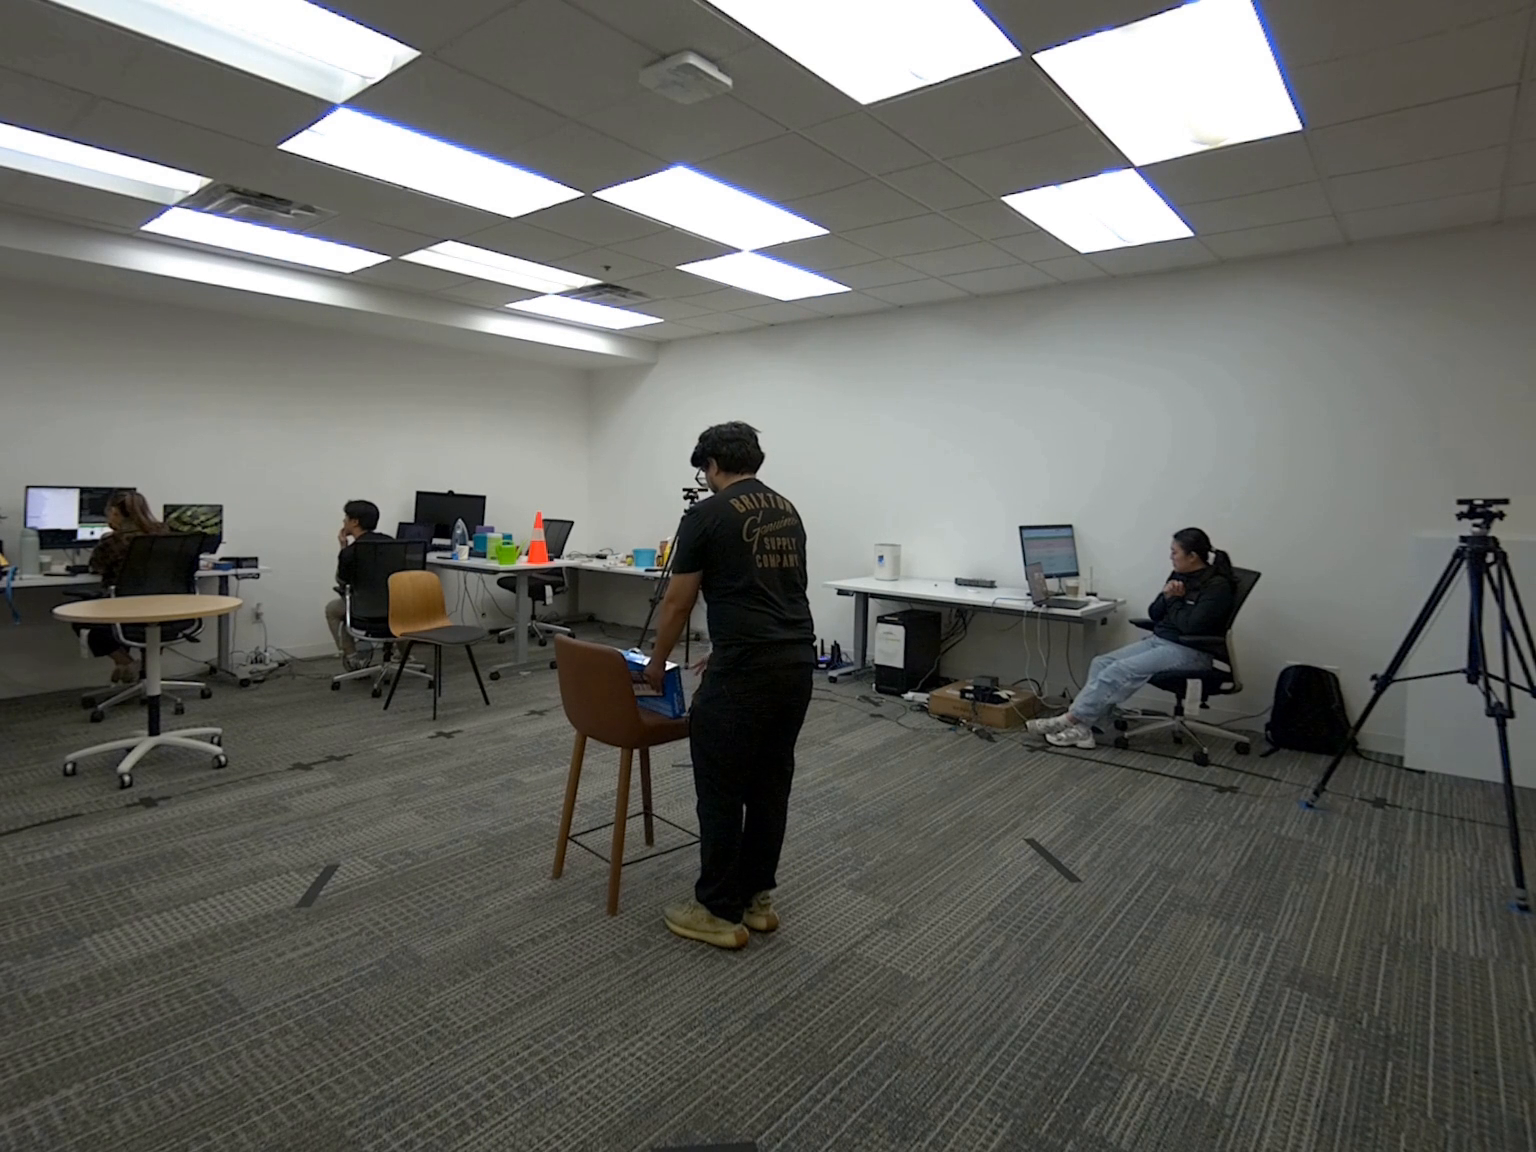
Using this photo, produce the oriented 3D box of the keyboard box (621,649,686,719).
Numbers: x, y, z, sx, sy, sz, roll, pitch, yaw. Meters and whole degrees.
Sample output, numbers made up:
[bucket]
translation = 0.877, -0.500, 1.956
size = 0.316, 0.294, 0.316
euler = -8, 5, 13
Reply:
[keyboard box]
translation = -0.469, 0.371, 3.035
size = 0.058, 0.174, 0.452
euler = -15, 15, -42
